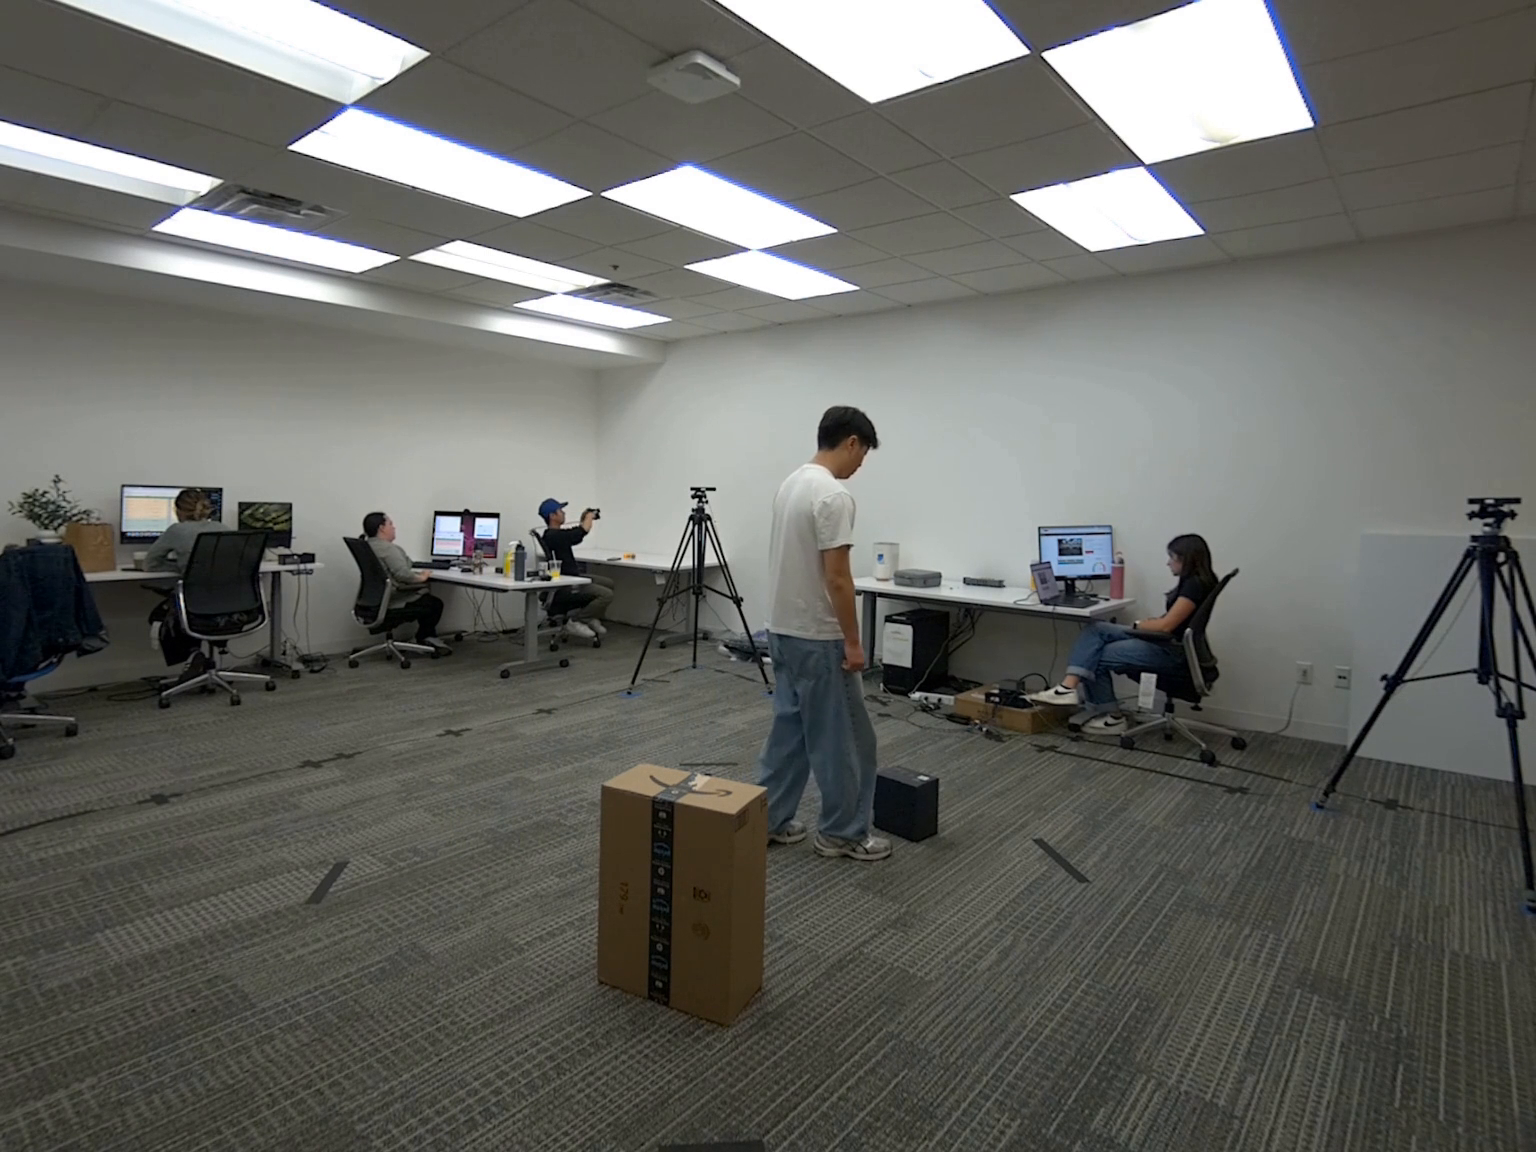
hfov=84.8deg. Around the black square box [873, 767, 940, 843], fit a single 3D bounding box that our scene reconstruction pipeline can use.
[{"bbox_3d":[0.561,0.929,3.498,0.151,0.227,0.224,-3,6,-43],"label":"black square box"}]
